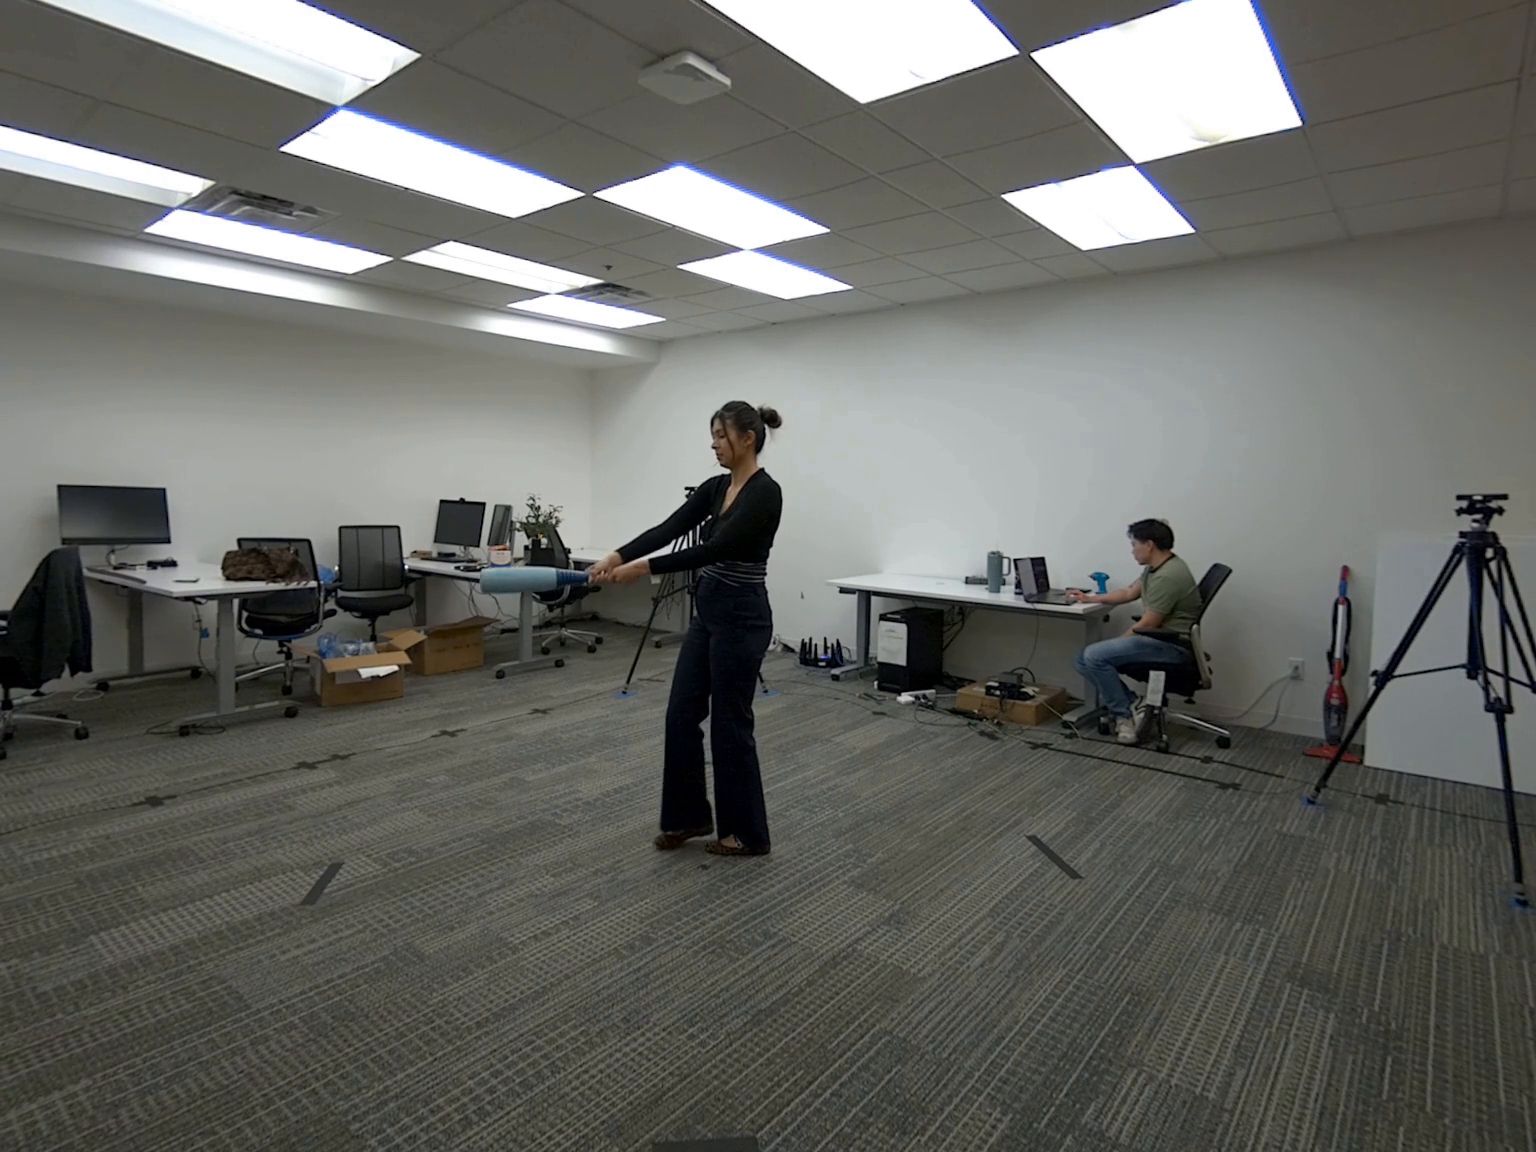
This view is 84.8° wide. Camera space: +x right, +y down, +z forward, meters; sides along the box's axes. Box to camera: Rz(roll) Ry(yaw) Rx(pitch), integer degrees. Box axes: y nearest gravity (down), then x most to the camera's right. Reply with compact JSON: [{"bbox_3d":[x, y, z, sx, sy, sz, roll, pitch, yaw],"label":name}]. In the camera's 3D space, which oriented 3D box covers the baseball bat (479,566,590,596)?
[{"bbox_3d":[-0.719,0.007,2.921,0.536,0.089,0.090,-2,4,-11],"label":"baseball bat"}]
